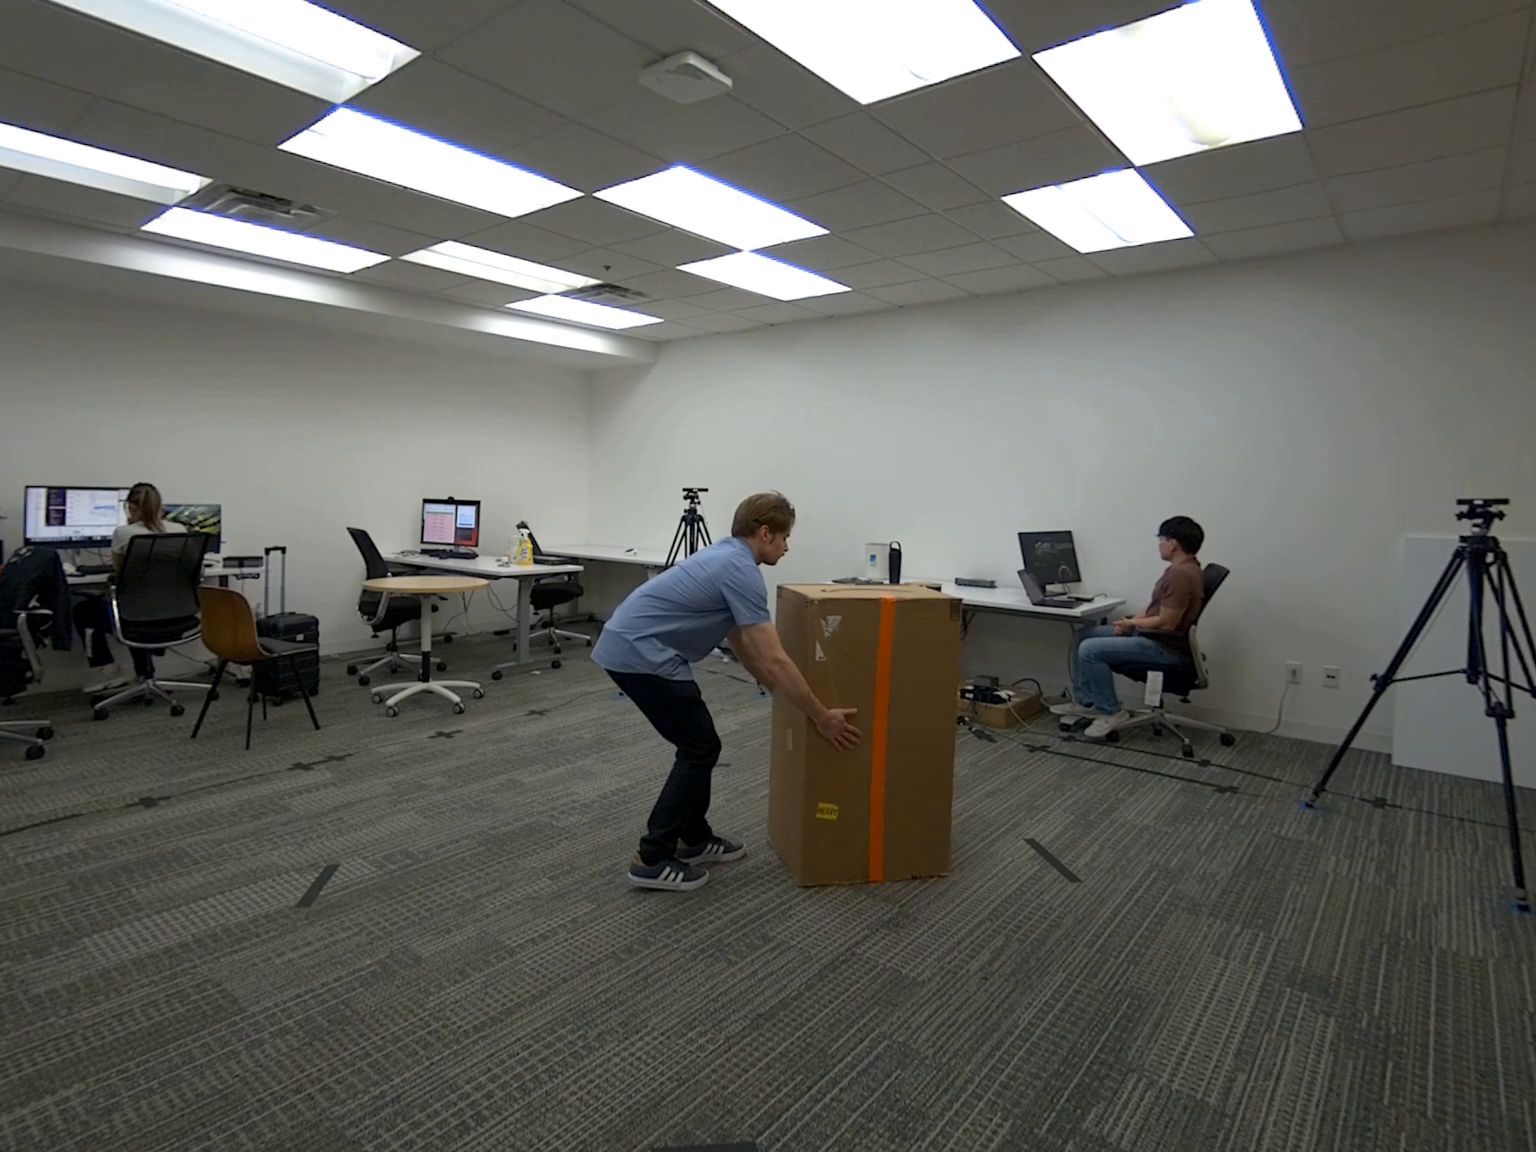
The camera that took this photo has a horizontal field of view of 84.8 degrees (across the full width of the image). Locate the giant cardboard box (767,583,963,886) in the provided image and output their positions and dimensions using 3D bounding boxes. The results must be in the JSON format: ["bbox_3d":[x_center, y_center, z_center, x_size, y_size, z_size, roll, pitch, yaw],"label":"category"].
[{"bbox_3d":[0.342,0.565,3.212,0.569,1.023,0.434,1,3,-14],"label":"giant cardboard box"}]
